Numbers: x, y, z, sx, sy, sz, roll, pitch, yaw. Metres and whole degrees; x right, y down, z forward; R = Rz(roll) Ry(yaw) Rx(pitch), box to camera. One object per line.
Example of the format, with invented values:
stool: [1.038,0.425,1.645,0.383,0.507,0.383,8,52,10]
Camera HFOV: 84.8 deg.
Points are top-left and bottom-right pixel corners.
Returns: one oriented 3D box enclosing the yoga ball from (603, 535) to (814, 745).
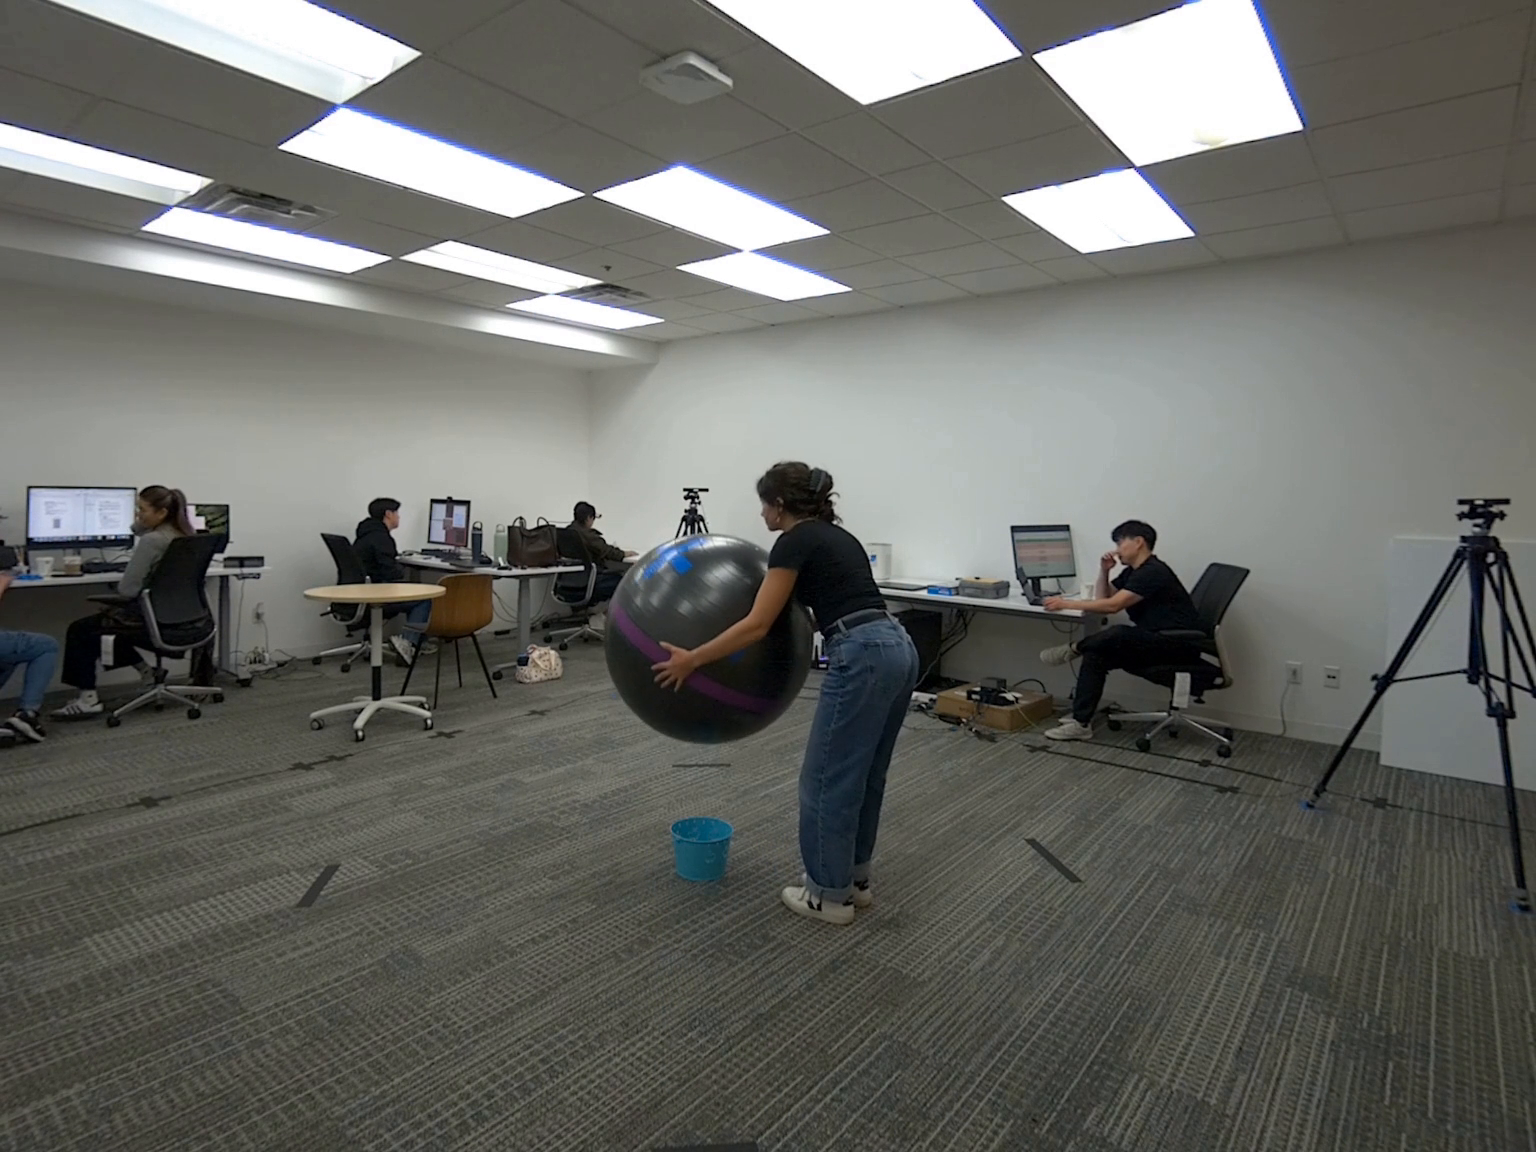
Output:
yoga ball: [-0.223,0.226,3.096,0.757,0.756,0.762,1,4,-2]
